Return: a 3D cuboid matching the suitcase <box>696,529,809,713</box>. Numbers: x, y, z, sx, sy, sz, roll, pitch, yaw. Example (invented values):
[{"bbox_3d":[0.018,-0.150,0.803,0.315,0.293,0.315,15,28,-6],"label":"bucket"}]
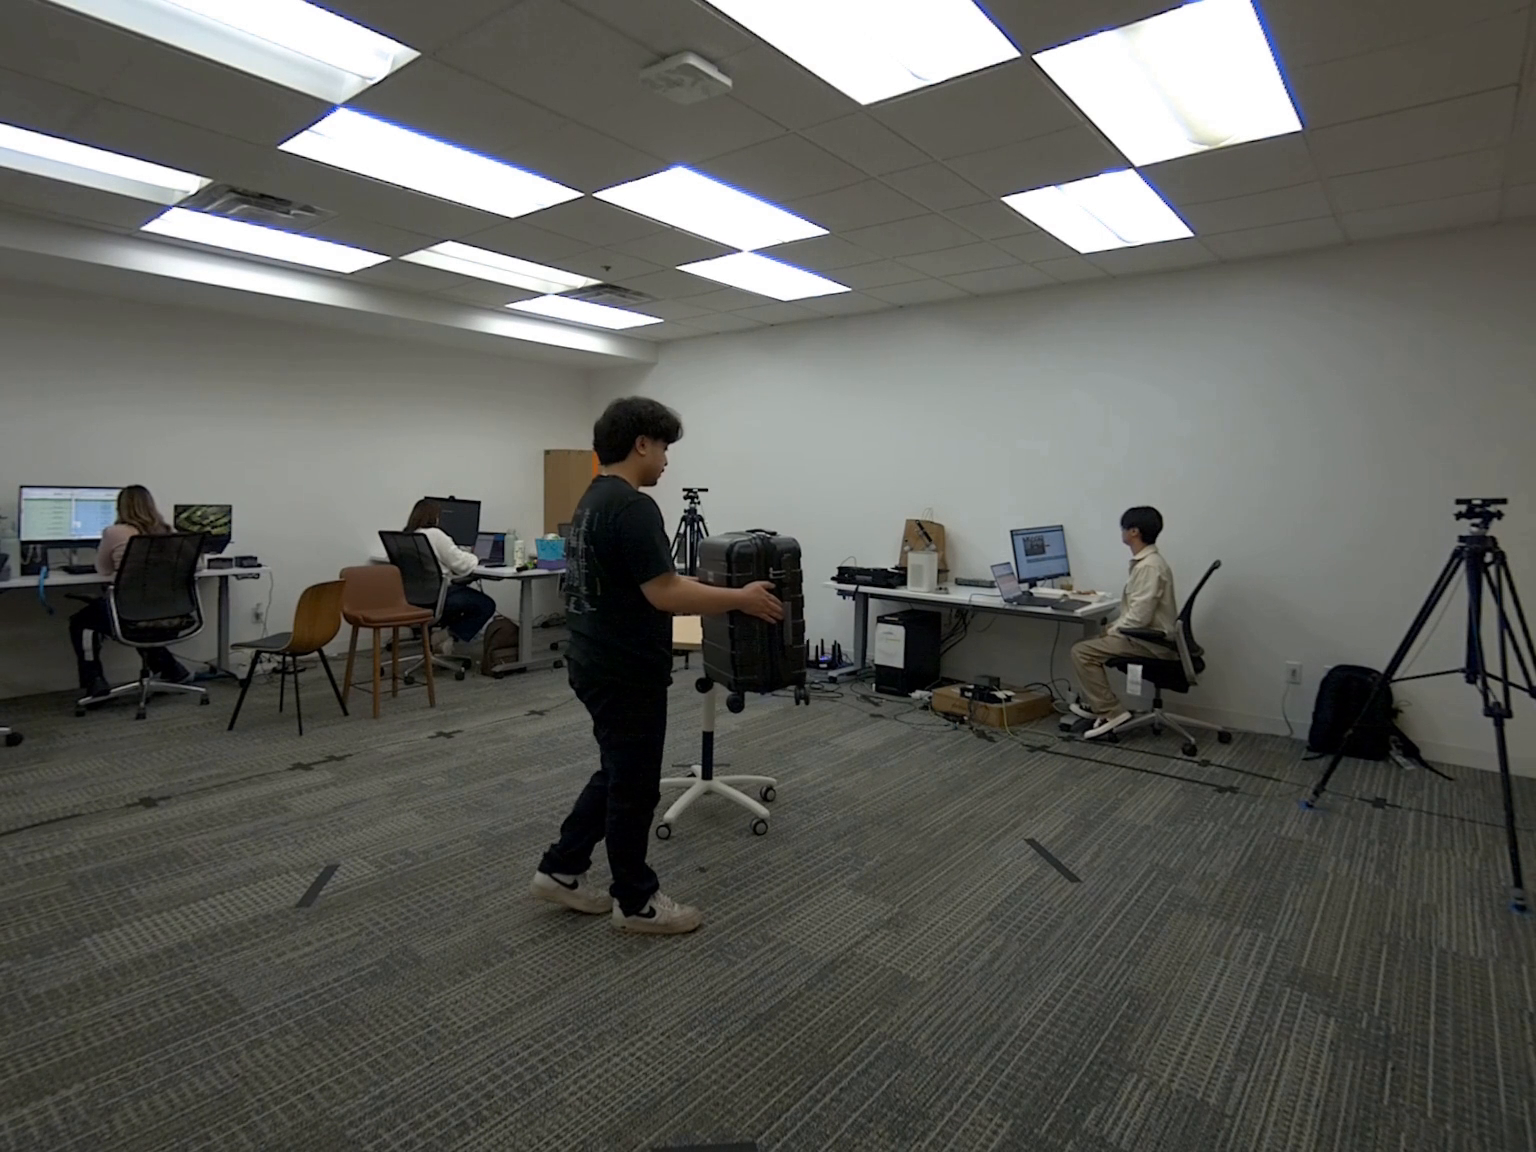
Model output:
[{"bbox_3d":[-0.071,0.124,2.796,0.243,0.547,0.385,-4,5,-23],"label":"suitcase"}]
